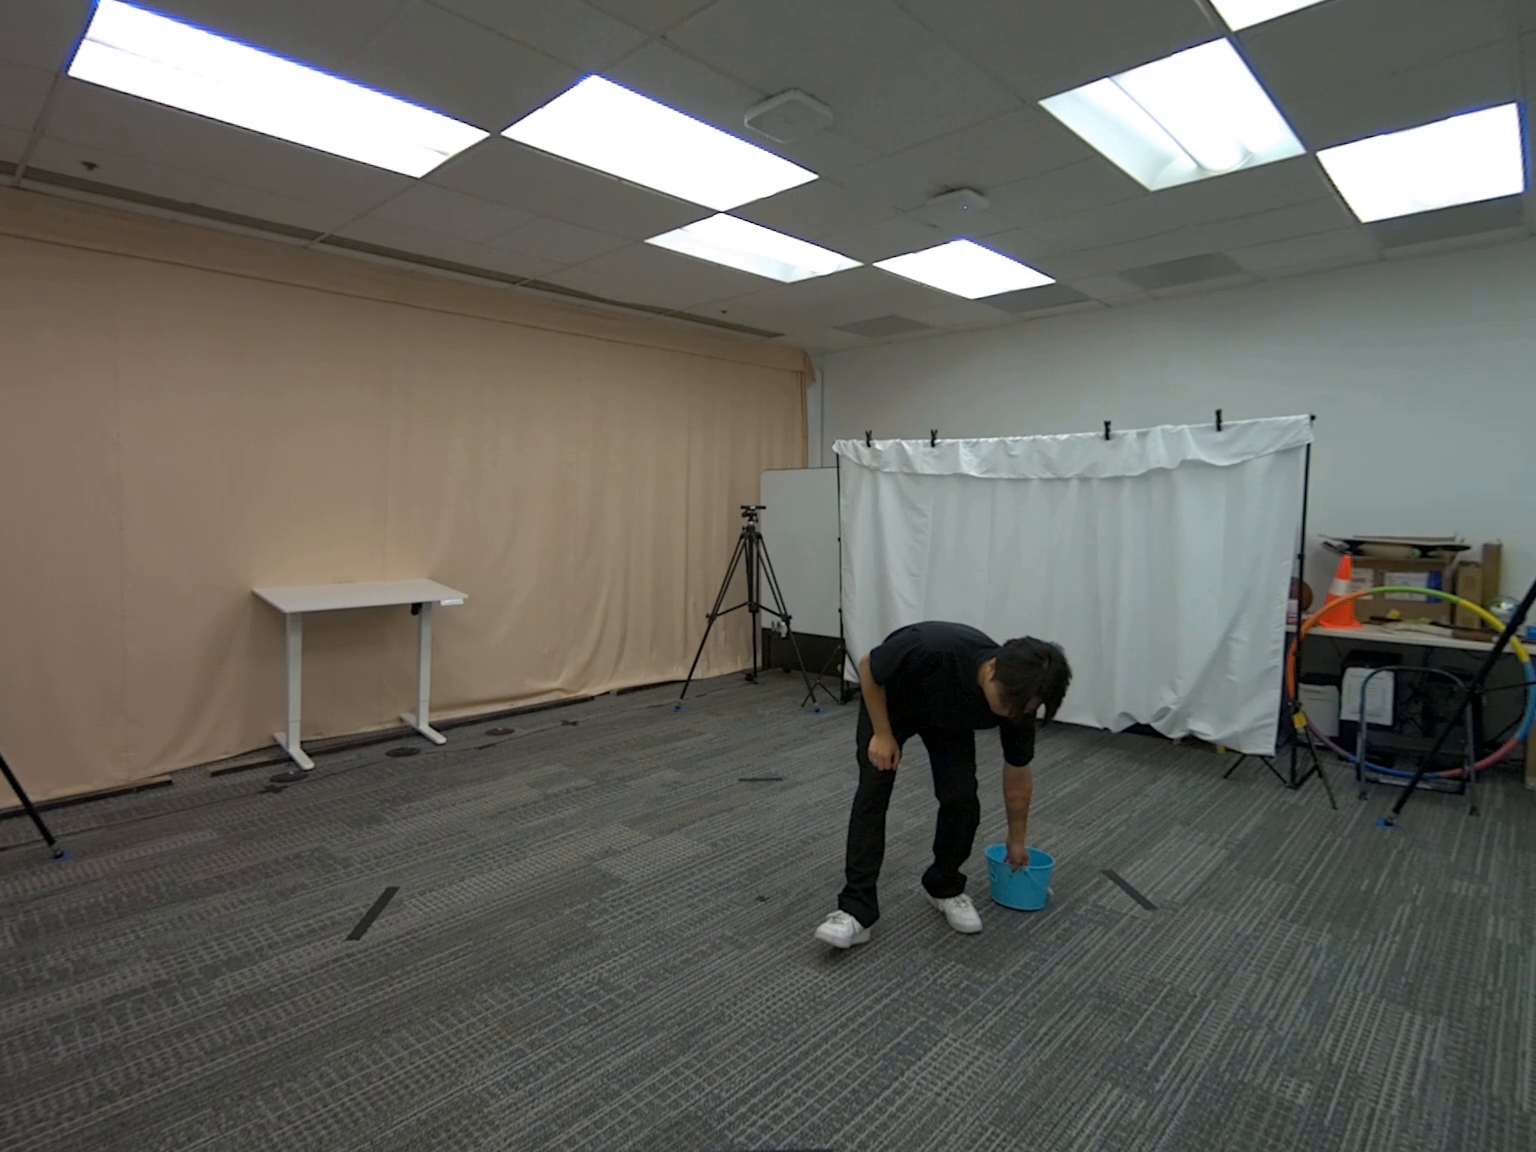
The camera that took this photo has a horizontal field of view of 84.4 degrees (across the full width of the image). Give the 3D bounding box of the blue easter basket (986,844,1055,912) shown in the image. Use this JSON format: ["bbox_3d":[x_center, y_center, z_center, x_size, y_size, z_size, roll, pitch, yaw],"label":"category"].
[{"bbox_3d":[0.889,1.064,2.964,0.243,0.156,0.244,3,1,-2],"label":"blue easter basket"}]
